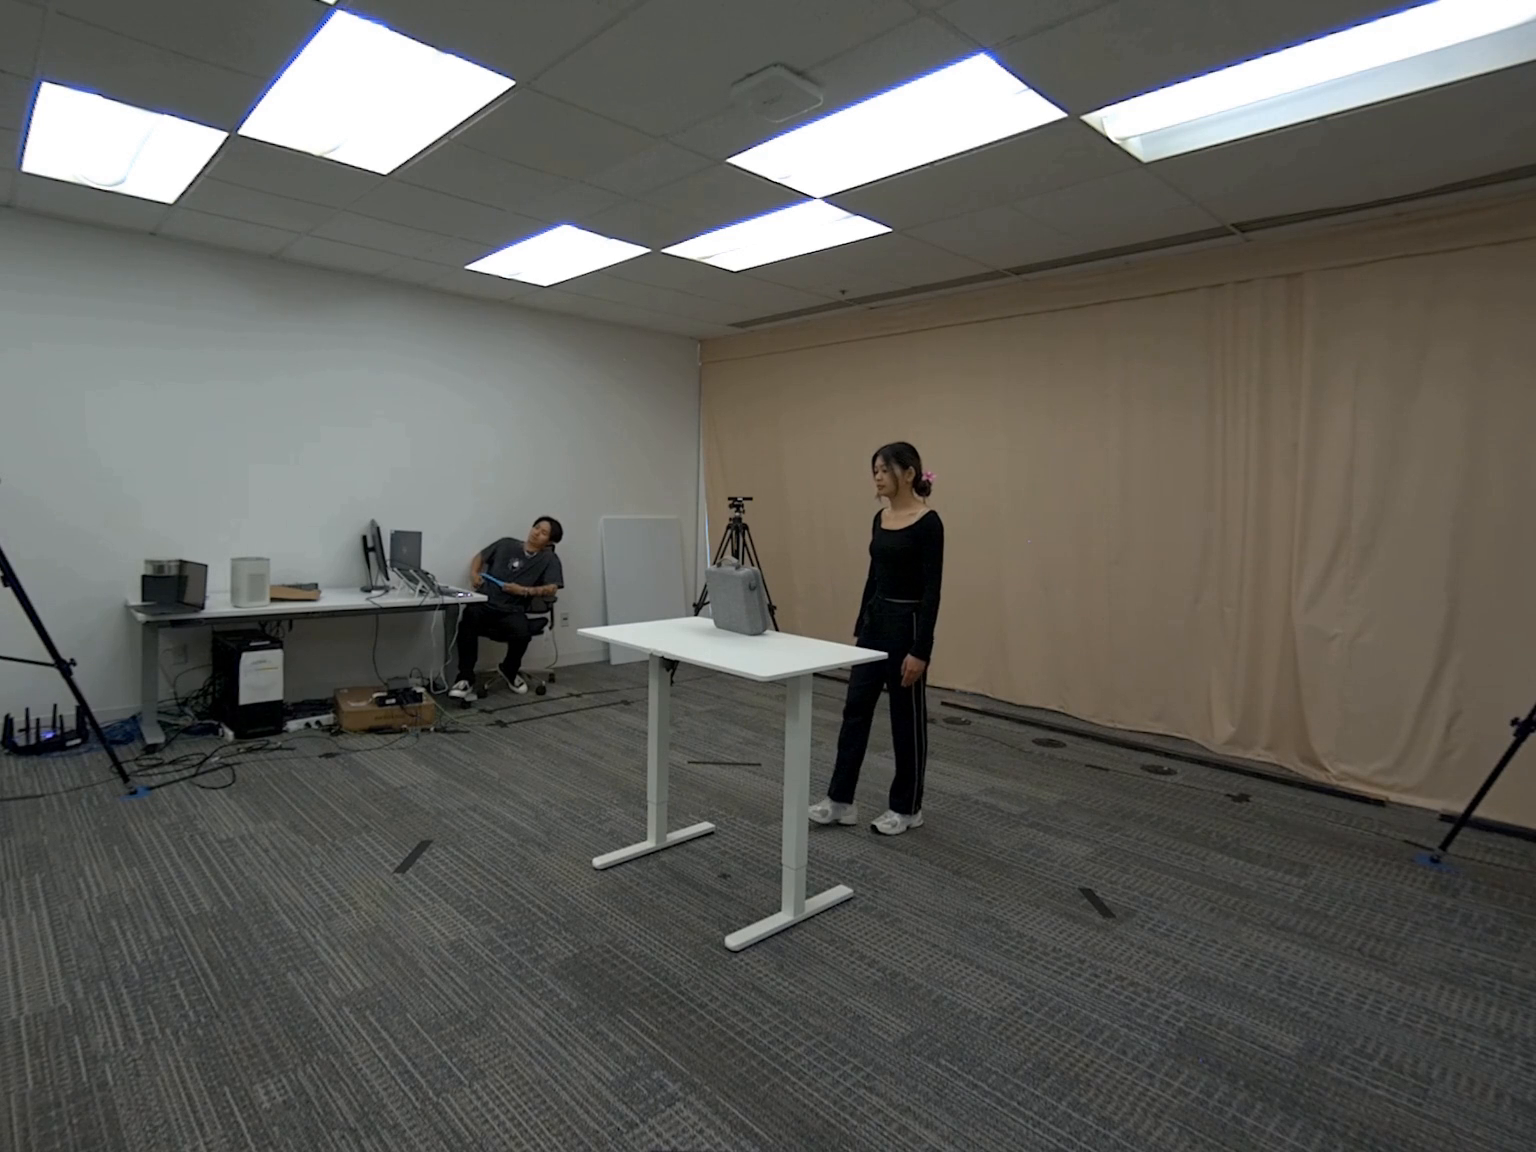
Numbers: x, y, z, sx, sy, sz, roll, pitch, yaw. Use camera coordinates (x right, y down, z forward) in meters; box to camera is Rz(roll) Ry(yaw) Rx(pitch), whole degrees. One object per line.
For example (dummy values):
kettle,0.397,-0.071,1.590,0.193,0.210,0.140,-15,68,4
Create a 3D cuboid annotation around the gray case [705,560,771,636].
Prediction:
gray case,-0.126,0.083,3.207,0.103,0.258,0.263,-17,14,-34
